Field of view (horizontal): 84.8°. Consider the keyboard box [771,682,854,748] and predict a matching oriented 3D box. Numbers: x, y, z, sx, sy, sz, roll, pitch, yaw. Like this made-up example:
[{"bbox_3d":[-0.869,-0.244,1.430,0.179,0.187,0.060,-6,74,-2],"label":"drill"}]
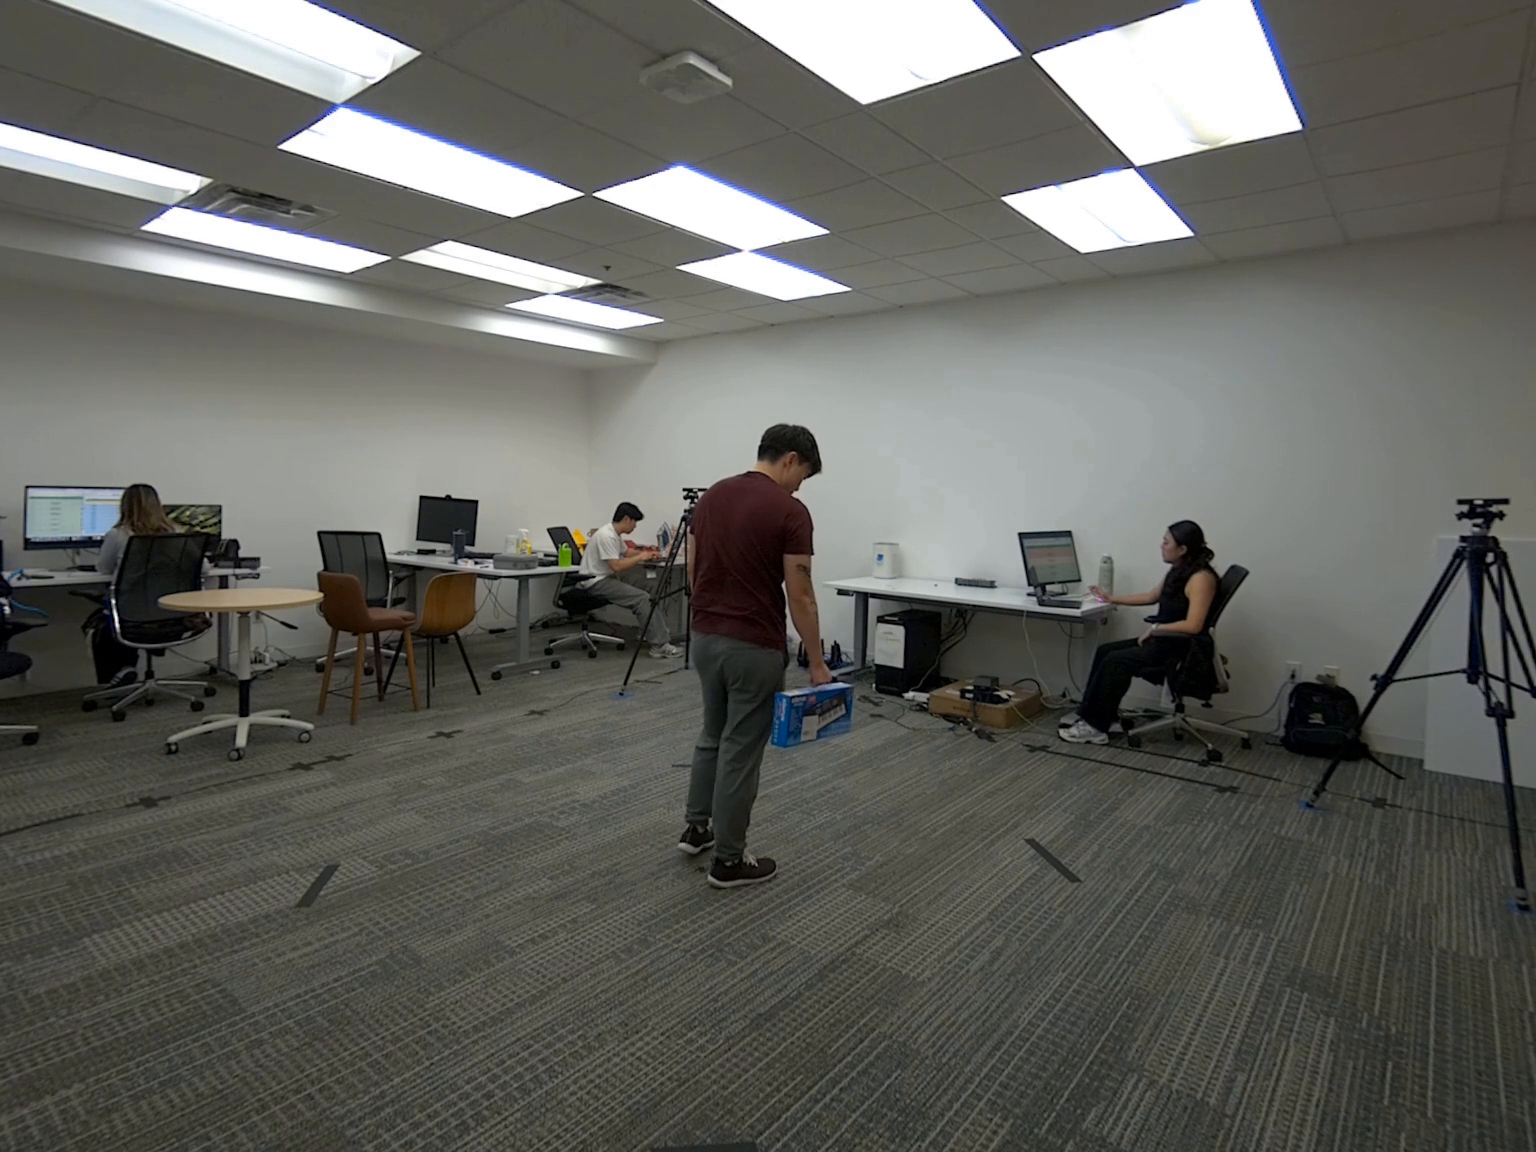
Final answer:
[{"bbox_3d":[0.152,0.478,2.955,0.061,0.176,0.423,5,1,35],"label":"keyboard box"}]
